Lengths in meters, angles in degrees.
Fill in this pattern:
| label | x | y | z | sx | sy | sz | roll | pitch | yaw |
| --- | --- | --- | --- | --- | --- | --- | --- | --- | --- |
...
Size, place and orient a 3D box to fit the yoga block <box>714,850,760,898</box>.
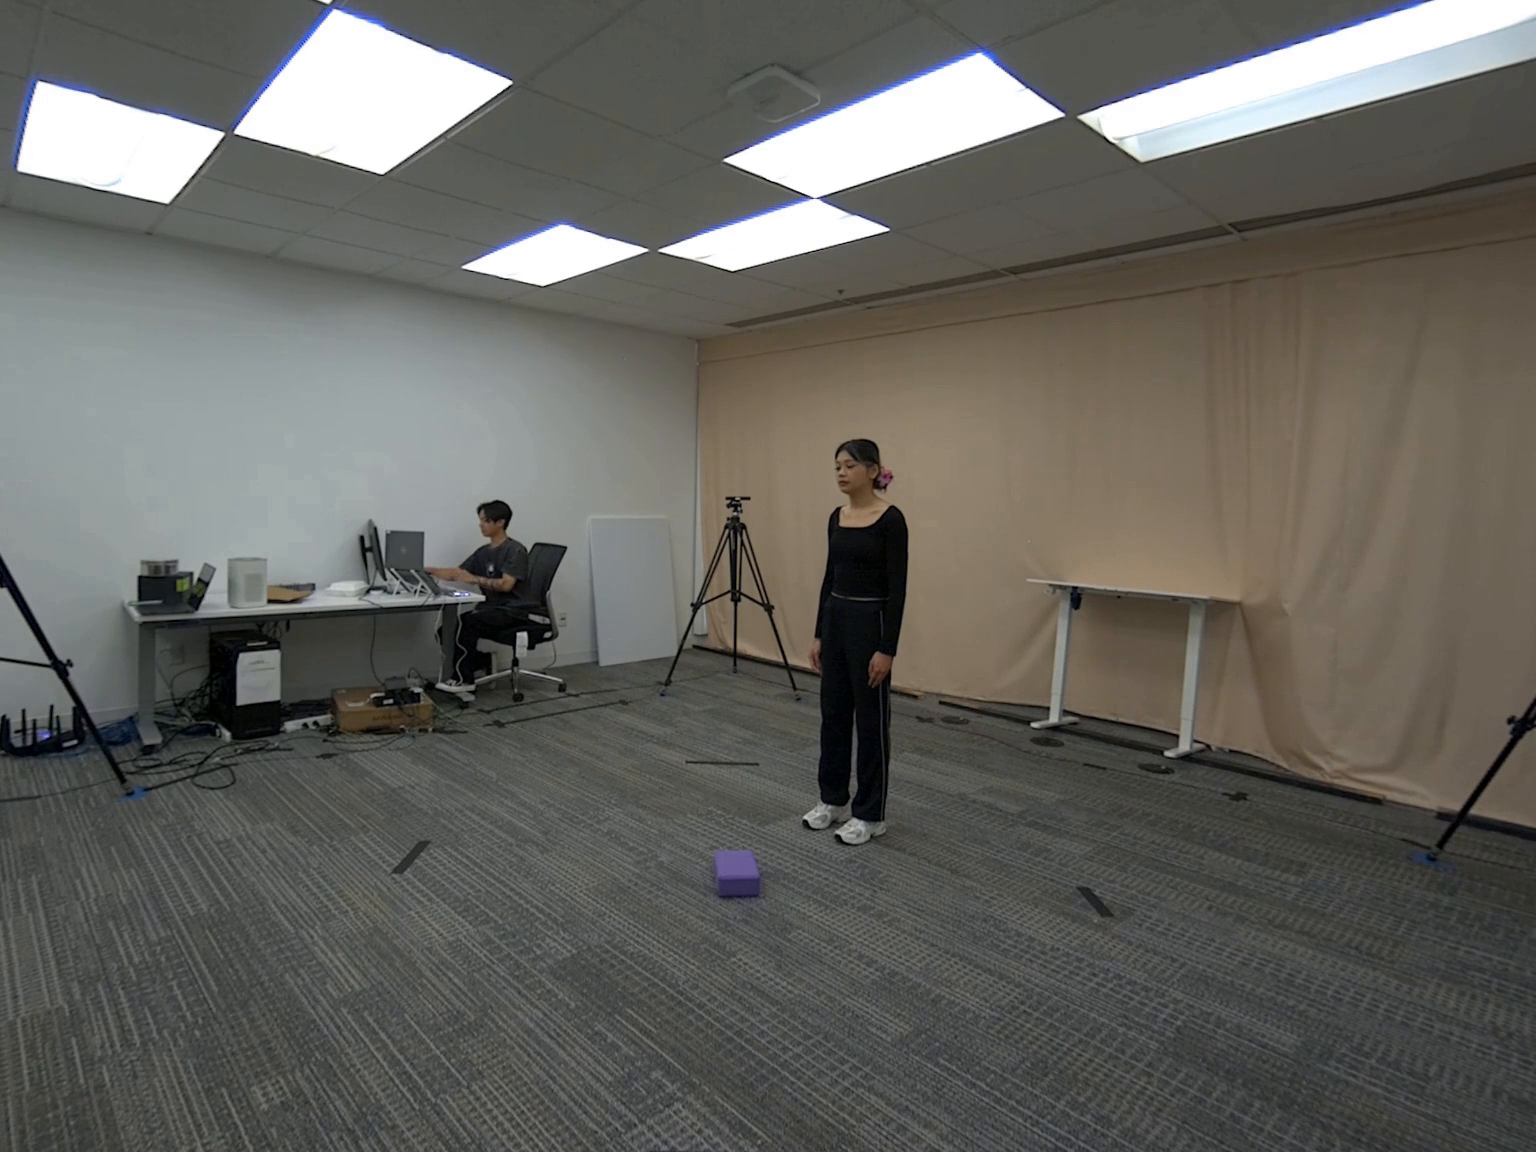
| label | x | y | z | sx | sy | sz | roll | pitch | yaw |
| --- | --- | --- | --- | --- | --- | --- | --- | --- | --- |
| yoga block | -0.123 | 1.073 | 3.041 | 0.148 | 0.076 | 0.231 | 0 | 6 | -6 |
